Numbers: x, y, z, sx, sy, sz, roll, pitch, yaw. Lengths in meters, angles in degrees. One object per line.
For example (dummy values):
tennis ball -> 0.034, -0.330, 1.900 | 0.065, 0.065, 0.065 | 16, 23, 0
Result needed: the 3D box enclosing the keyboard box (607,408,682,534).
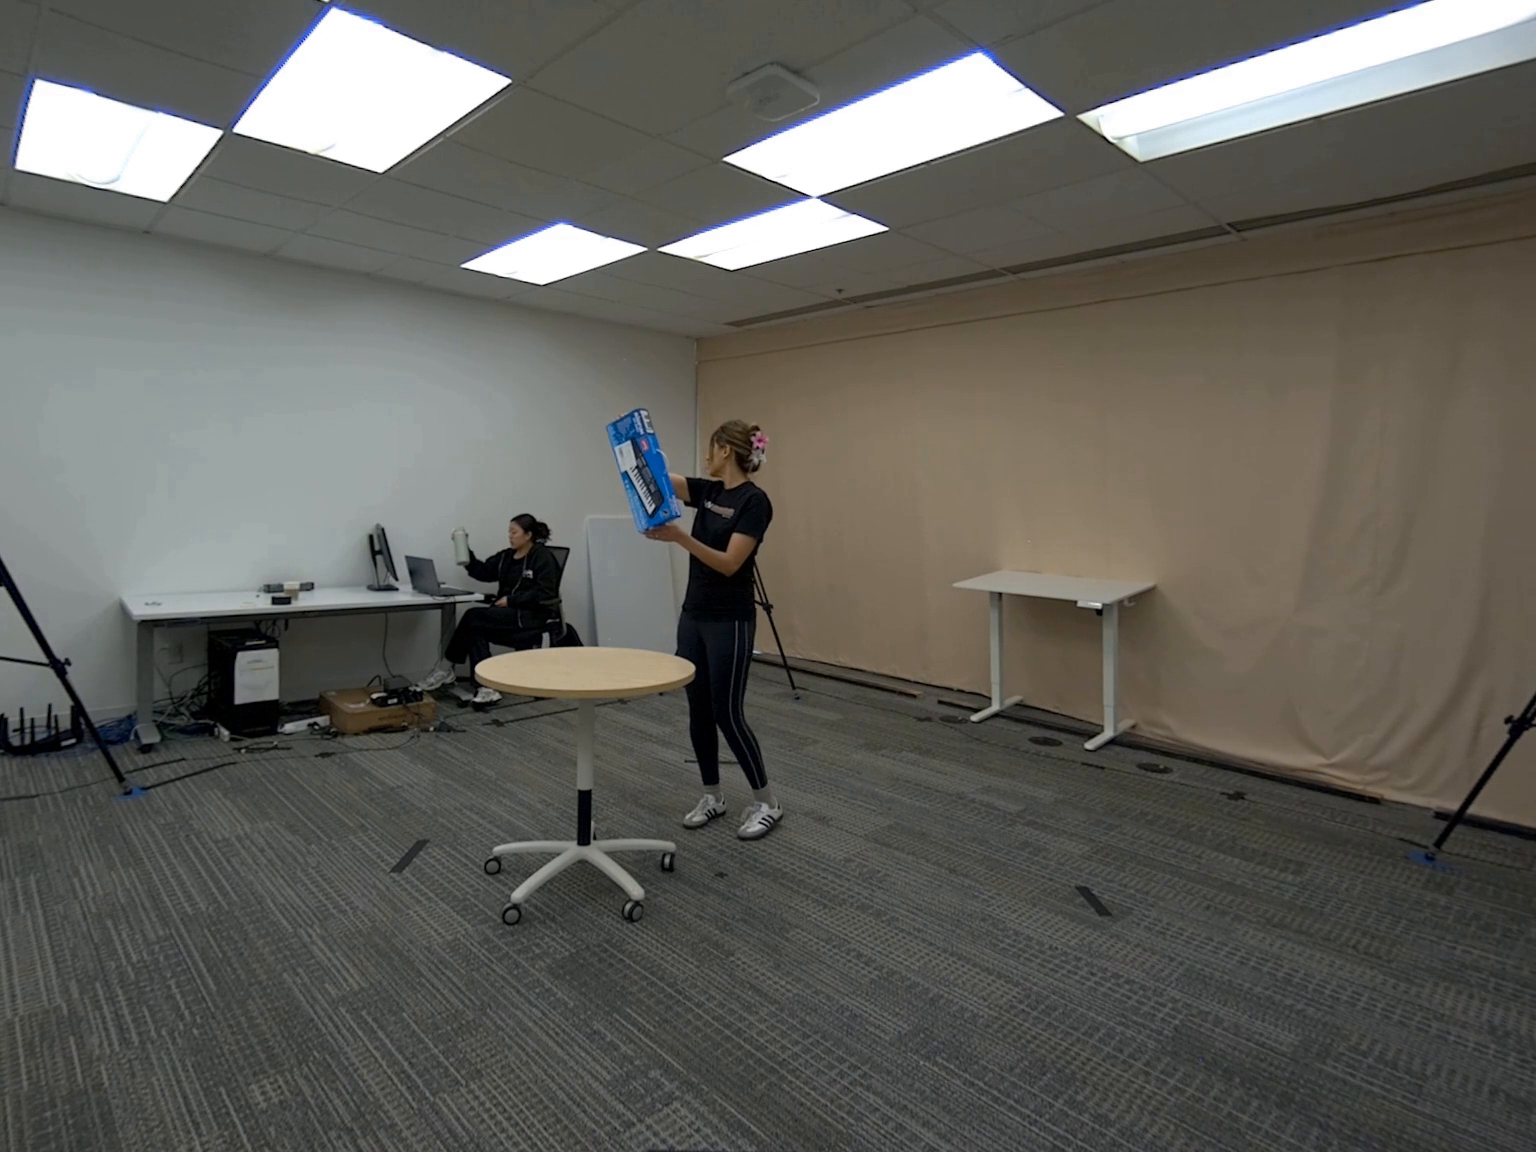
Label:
keyboard box -> -0.478, -0.396, 3.176 | 0.178, 0.440, 0.058 | -21, -9, 28
